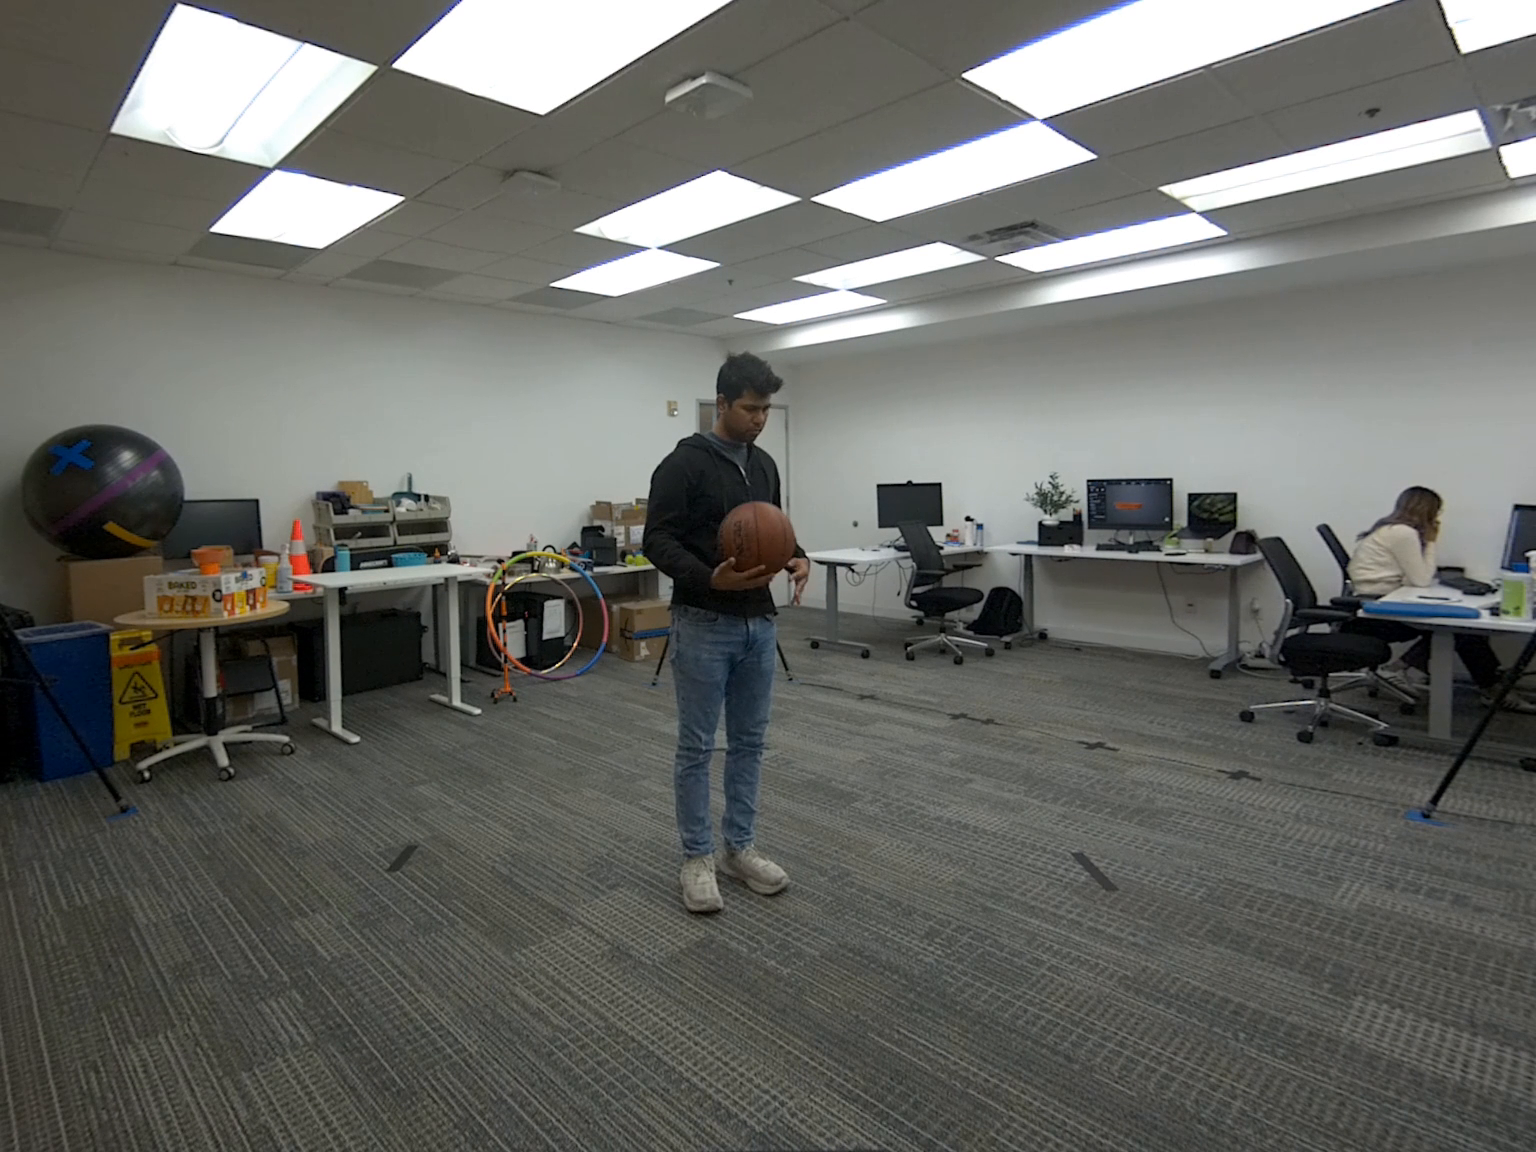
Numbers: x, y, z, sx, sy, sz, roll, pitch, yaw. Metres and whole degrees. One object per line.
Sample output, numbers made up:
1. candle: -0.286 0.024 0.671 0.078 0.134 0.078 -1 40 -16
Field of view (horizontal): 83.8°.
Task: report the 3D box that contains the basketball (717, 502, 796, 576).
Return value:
1. basketball: -0.032 -0.110 2.641 0.236 0.235 0.237 -1 5 -2
